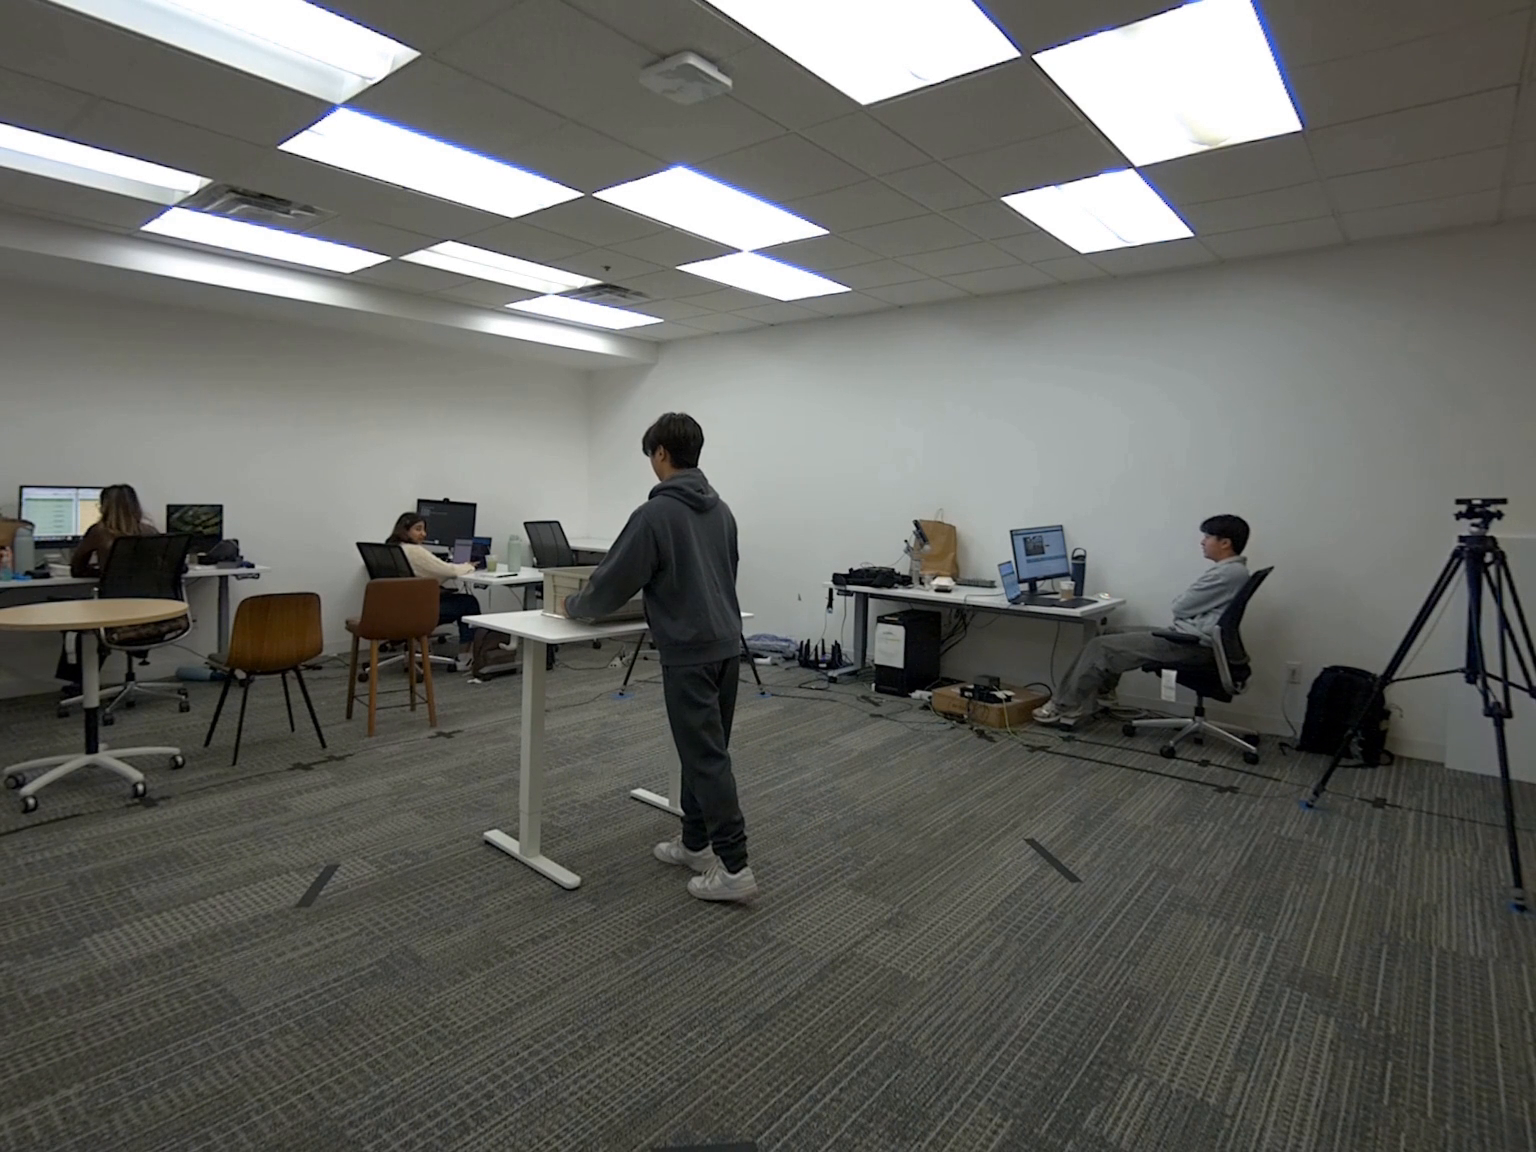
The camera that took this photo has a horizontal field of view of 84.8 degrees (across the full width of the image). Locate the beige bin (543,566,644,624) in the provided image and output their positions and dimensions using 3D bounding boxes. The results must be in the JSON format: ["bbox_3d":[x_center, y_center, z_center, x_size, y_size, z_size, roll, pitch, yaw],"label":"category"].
[{"bbox_3d":[-0.635,0.069,3.352,0.390,0.188,0.409,6,6,42],"label":"beige bin"}]
